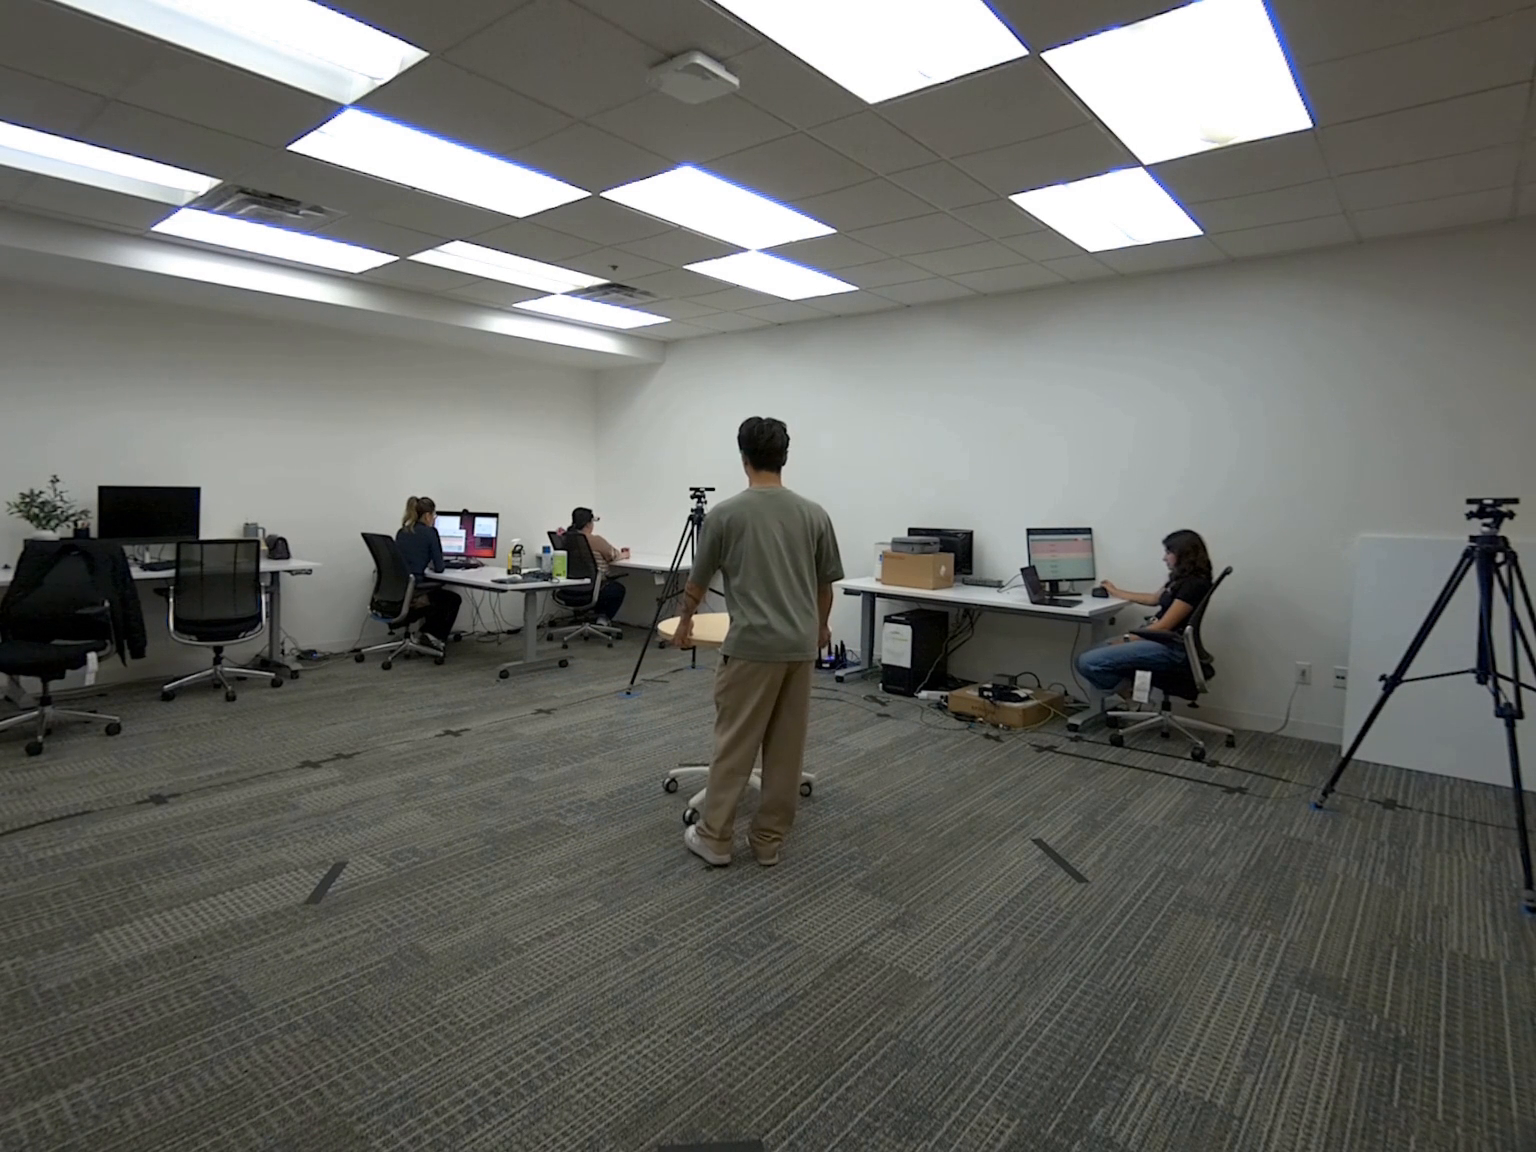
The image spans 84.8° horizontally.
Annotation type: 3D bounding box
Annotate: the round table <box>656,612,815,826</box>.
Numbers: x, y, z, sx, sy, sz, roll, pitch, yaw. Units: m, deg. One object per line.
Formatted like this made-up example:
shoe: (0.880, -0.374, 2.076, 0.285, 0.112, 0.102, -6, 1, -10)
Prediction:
round table: (-0.124, 0.605, 3.786, 0.784, 0.784, 0.789, 1, 5, -2)
